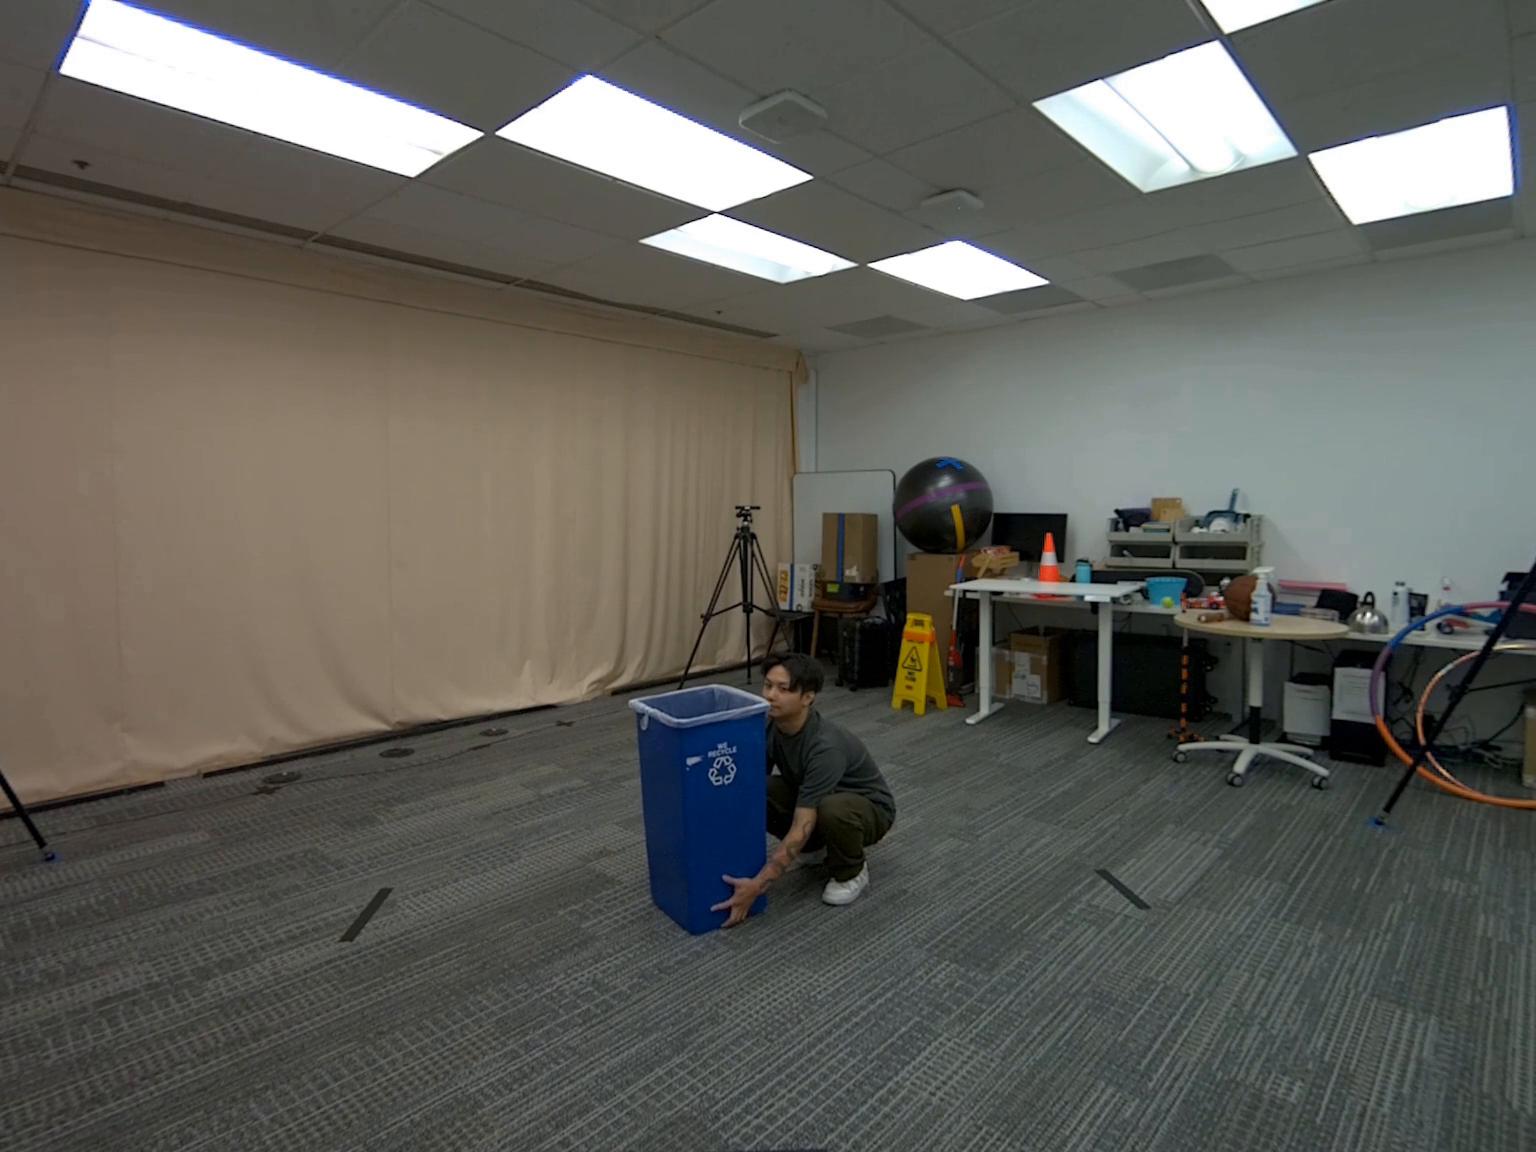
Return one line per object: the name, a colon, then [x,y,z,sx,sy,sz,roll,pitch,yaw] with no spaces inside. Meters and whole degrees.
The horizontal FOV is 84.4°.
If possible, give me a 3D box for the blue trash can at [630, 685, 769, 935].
blue trash can: [-0.217,0.777,2.884,0.368,0.712,0.385,-5,4,-33]
